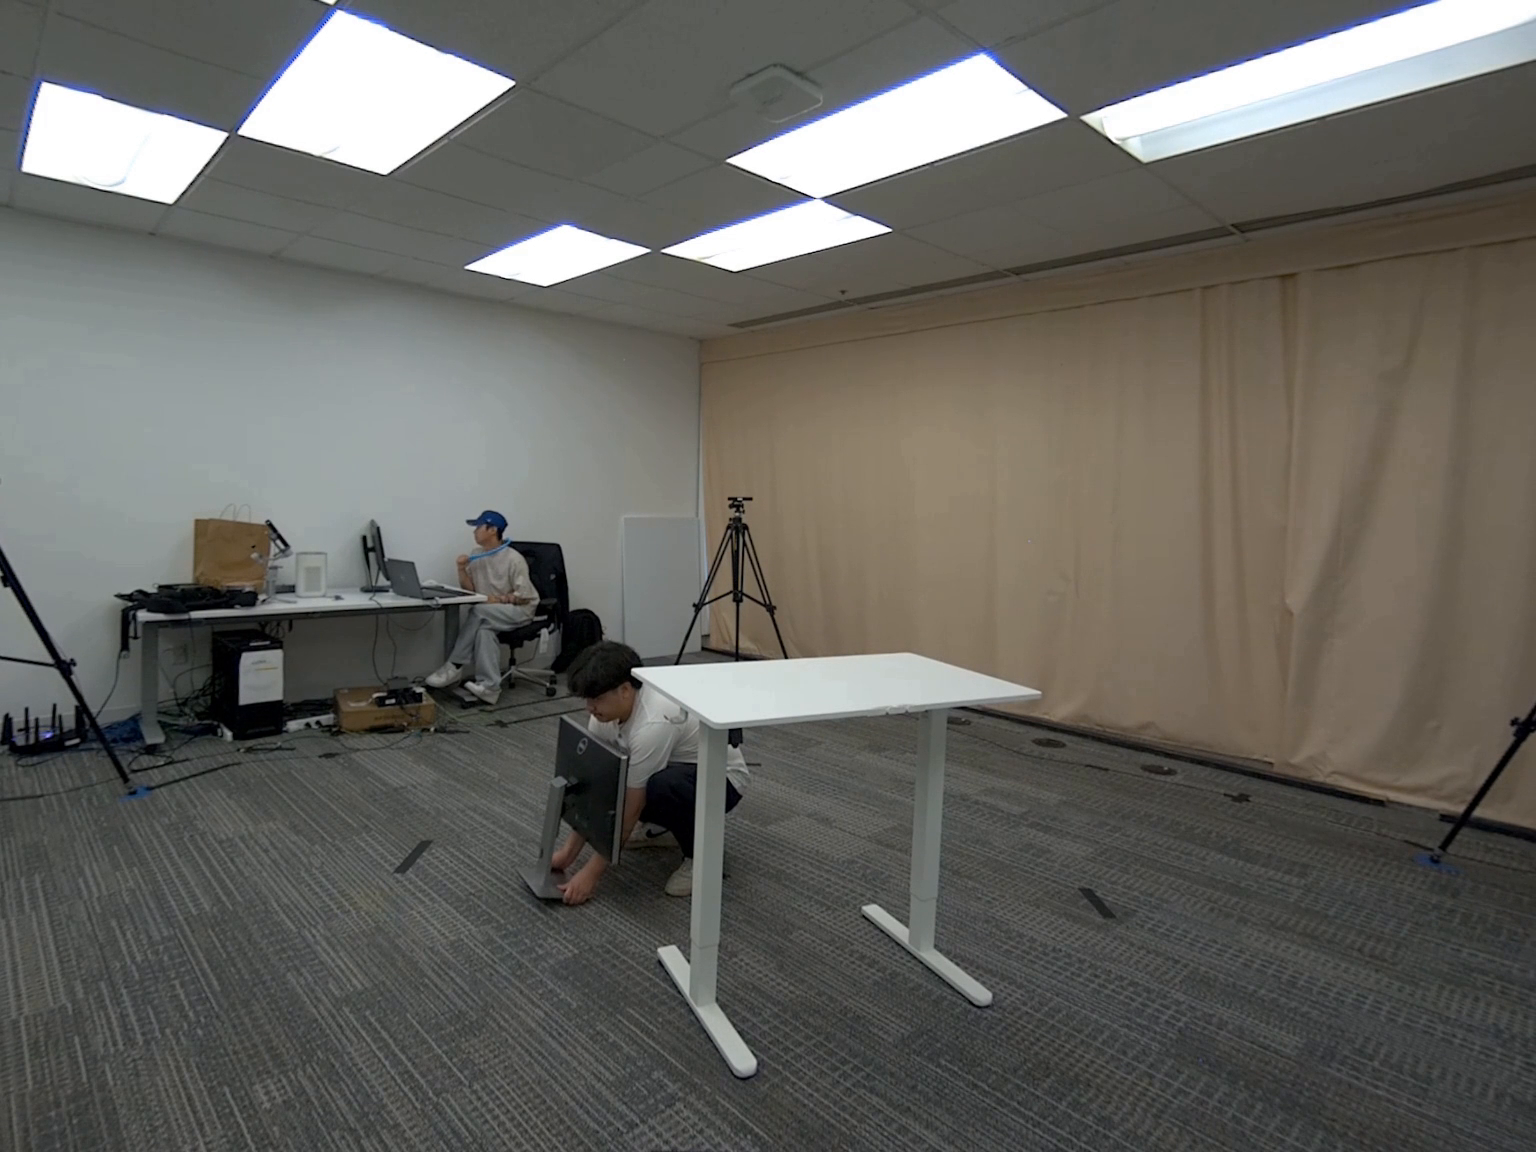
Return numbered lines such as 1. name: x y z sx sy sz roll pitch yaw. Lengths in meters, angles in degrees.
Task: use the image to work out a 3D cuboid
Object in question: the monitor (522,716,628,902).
1. monitor: -0.719 0.823 2.950 0.205 0.554 0.580 10 1 -35
